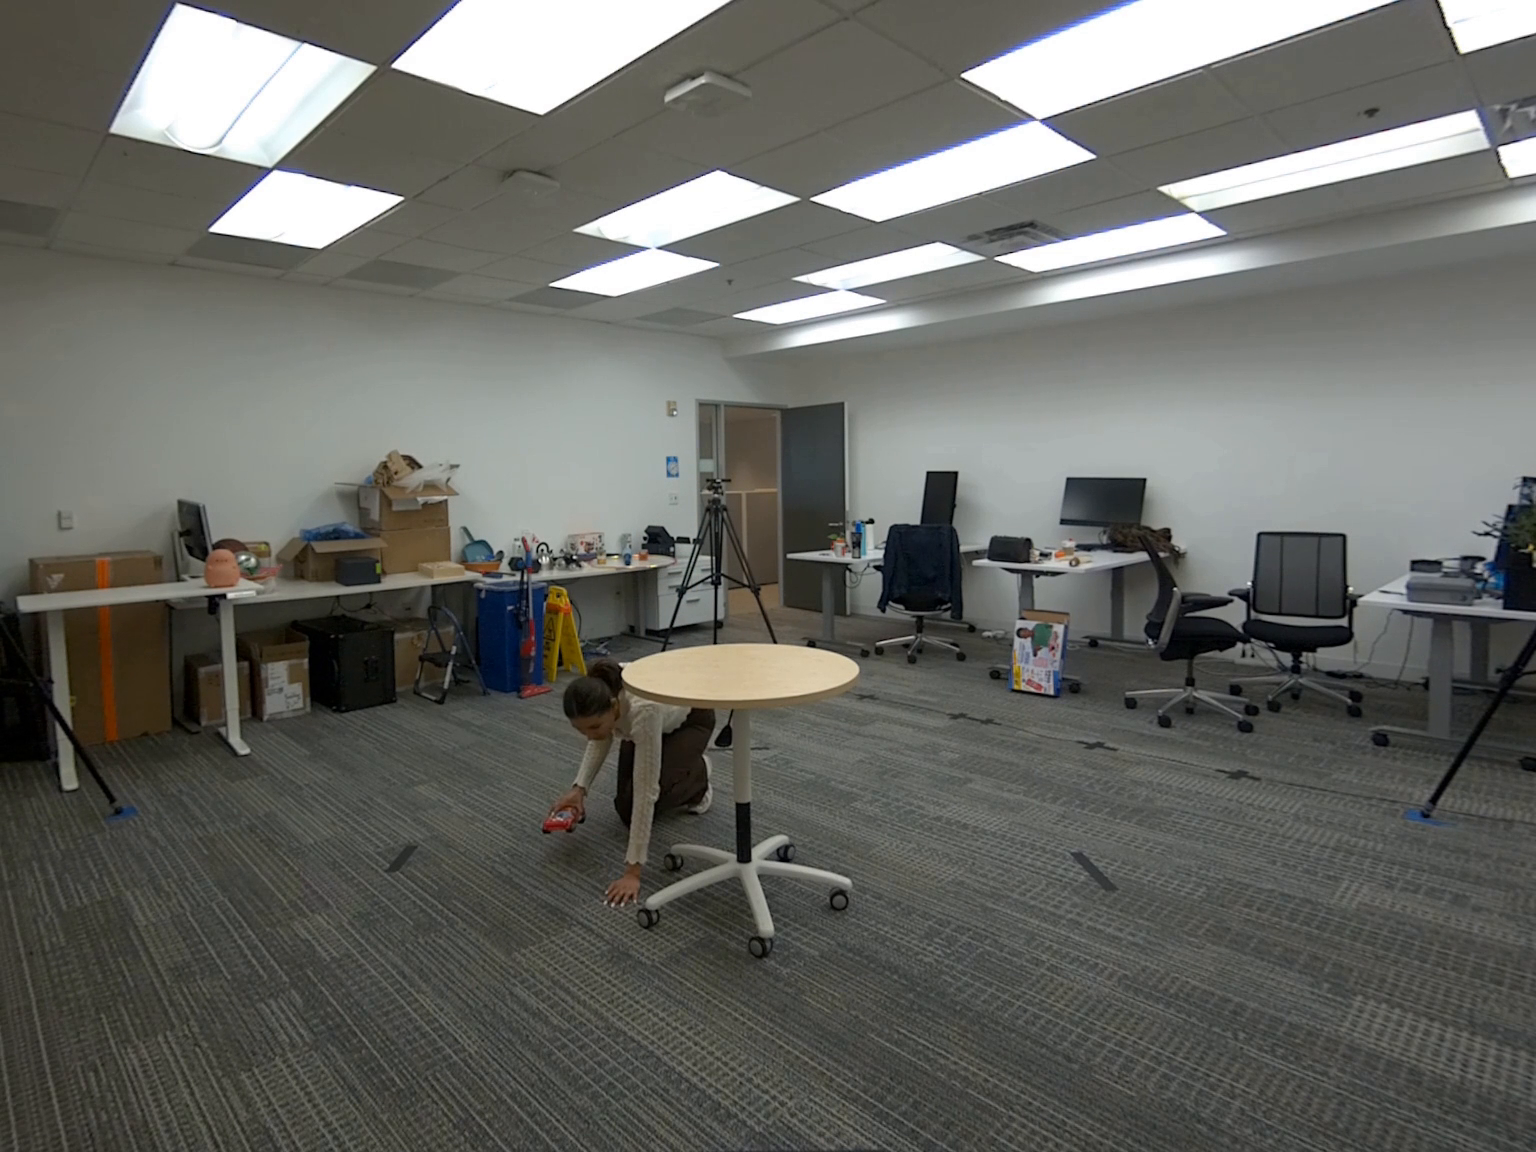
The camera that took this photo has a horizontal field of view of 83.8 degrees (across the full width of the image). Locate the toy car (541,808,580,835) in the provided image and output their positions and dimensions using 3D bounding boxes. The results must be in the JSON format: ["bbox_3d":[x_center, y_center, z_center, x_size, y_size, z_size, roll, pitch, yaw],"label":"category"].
[{"bbox_3d":[-0.760,0.921,3.213,0.131,0.082,0.255,-6,9,4],"label":"toy car"}]
